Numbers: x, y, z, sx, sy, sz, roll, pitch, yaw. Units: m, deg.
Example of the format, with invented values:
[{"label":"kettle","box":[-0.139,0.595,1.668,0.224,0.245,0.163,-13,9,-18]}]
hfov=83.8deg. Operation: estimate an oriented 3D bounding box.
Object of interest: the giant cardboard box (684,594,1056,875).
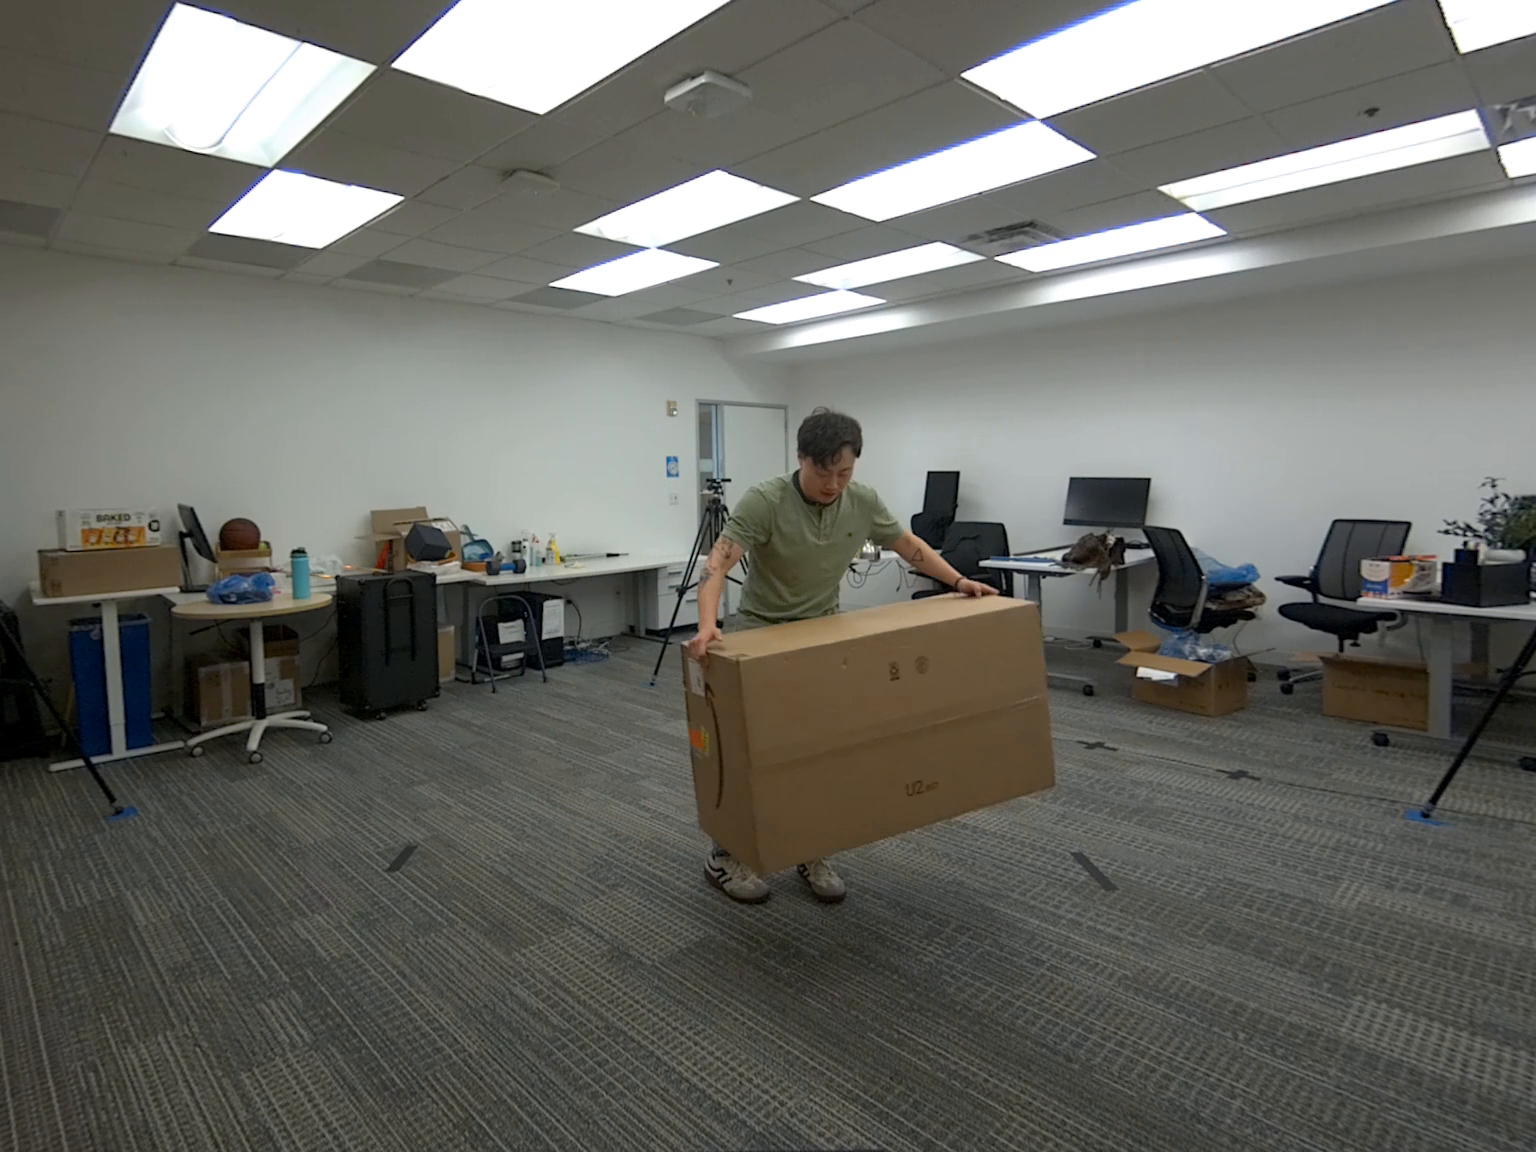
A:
[{"label":"giant cardboard box","box":[0.301,0.419,2.593,1.007,0.576,0.435,-8,3,-23]}]
